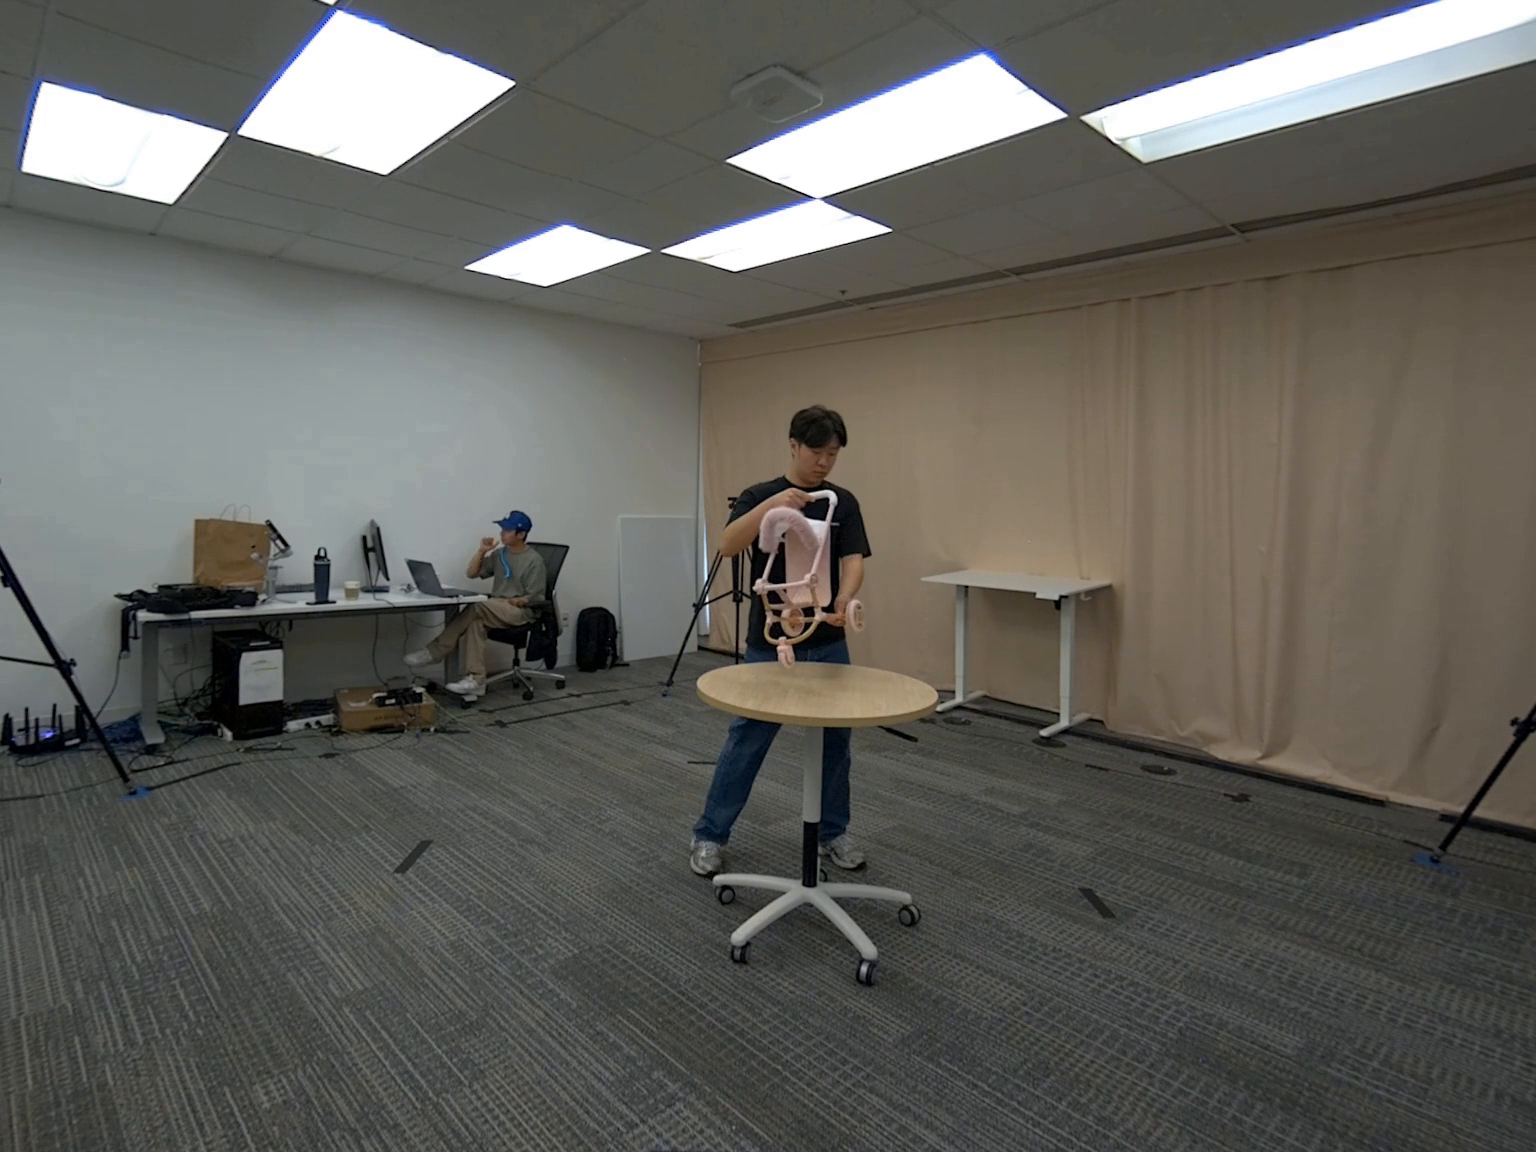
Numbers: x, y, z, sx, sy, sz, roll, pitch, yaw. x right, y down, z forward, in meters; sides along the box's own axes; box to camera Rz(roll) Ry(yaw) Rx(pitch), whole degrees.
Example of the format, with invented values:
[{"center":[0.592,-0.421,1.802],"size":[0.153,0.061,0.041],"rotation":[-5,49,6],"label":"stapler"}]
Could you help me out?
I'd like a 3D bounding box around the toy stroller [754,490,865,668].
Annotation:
[{"center":[0.085,0.013,2.720],"size":[0.287,0.534,0.335],"rotation":[-6,4,41],"label":"toy stroller"}]
